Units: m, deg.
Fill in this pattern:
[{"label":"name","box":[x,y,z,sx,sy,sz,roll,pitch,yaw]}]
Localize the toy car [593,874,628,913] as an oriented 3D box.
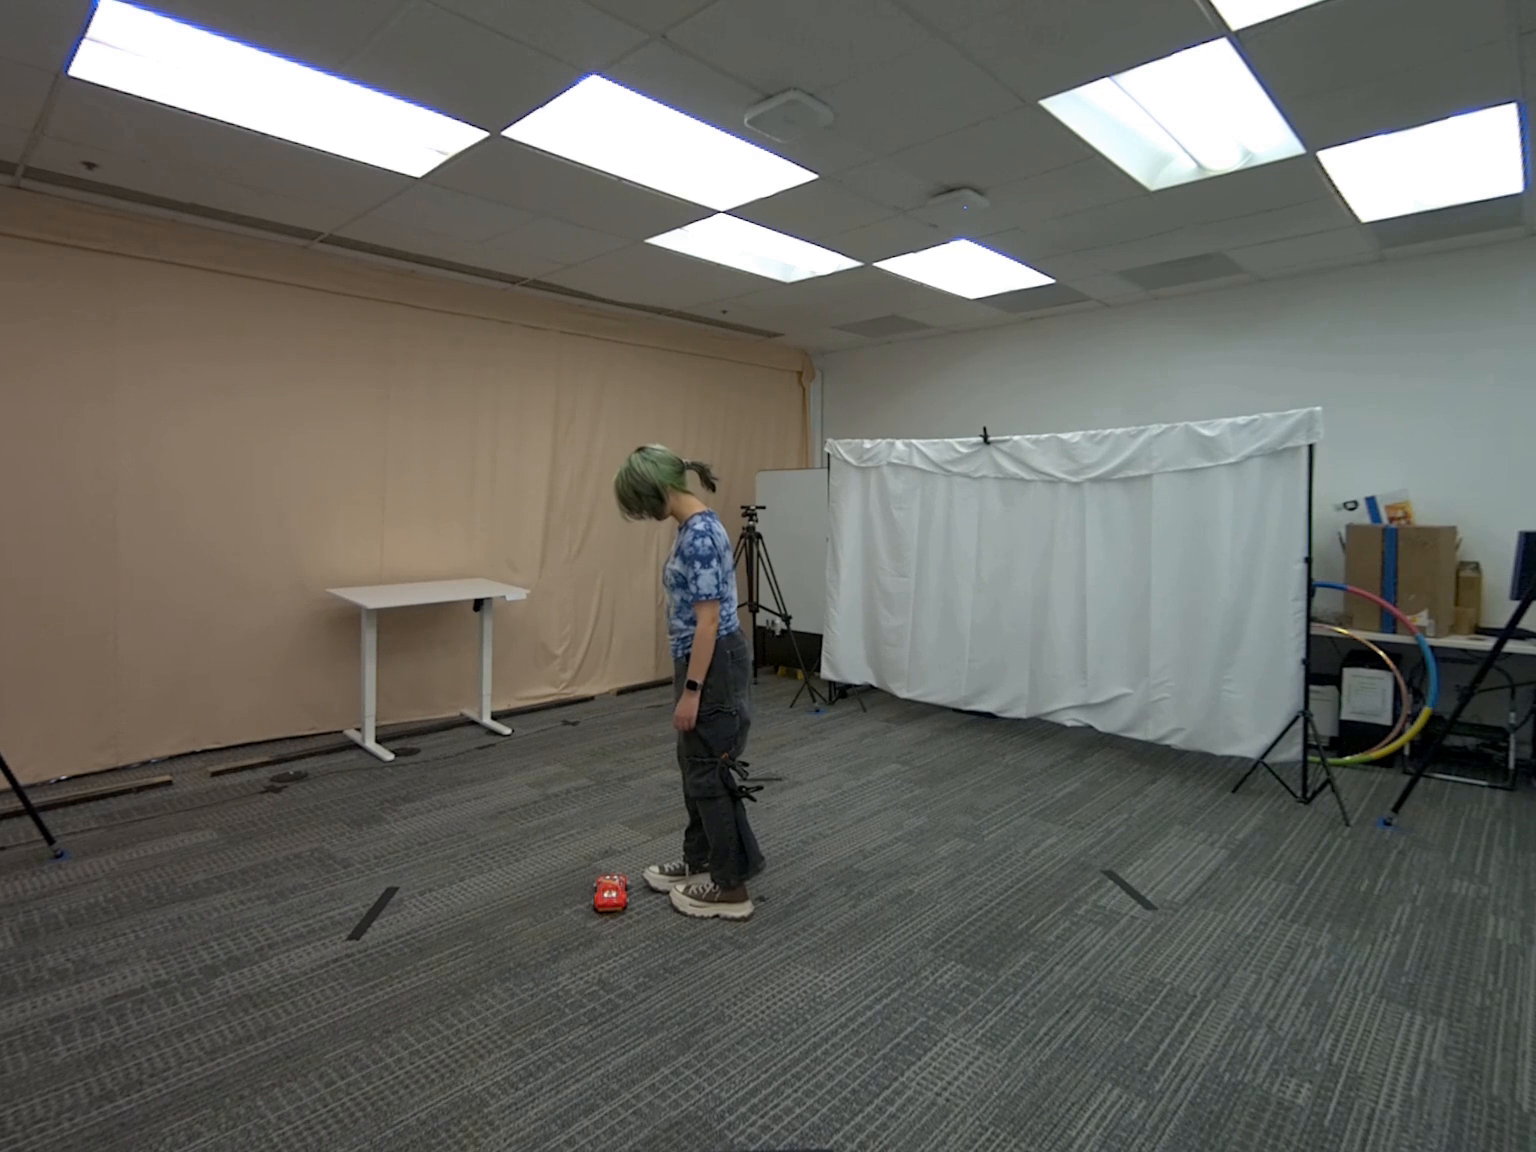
[{"label":"toy car","box":[-0.556,1.123,2.962,0.129,0.083,0.255,0,-7,-6]}]
